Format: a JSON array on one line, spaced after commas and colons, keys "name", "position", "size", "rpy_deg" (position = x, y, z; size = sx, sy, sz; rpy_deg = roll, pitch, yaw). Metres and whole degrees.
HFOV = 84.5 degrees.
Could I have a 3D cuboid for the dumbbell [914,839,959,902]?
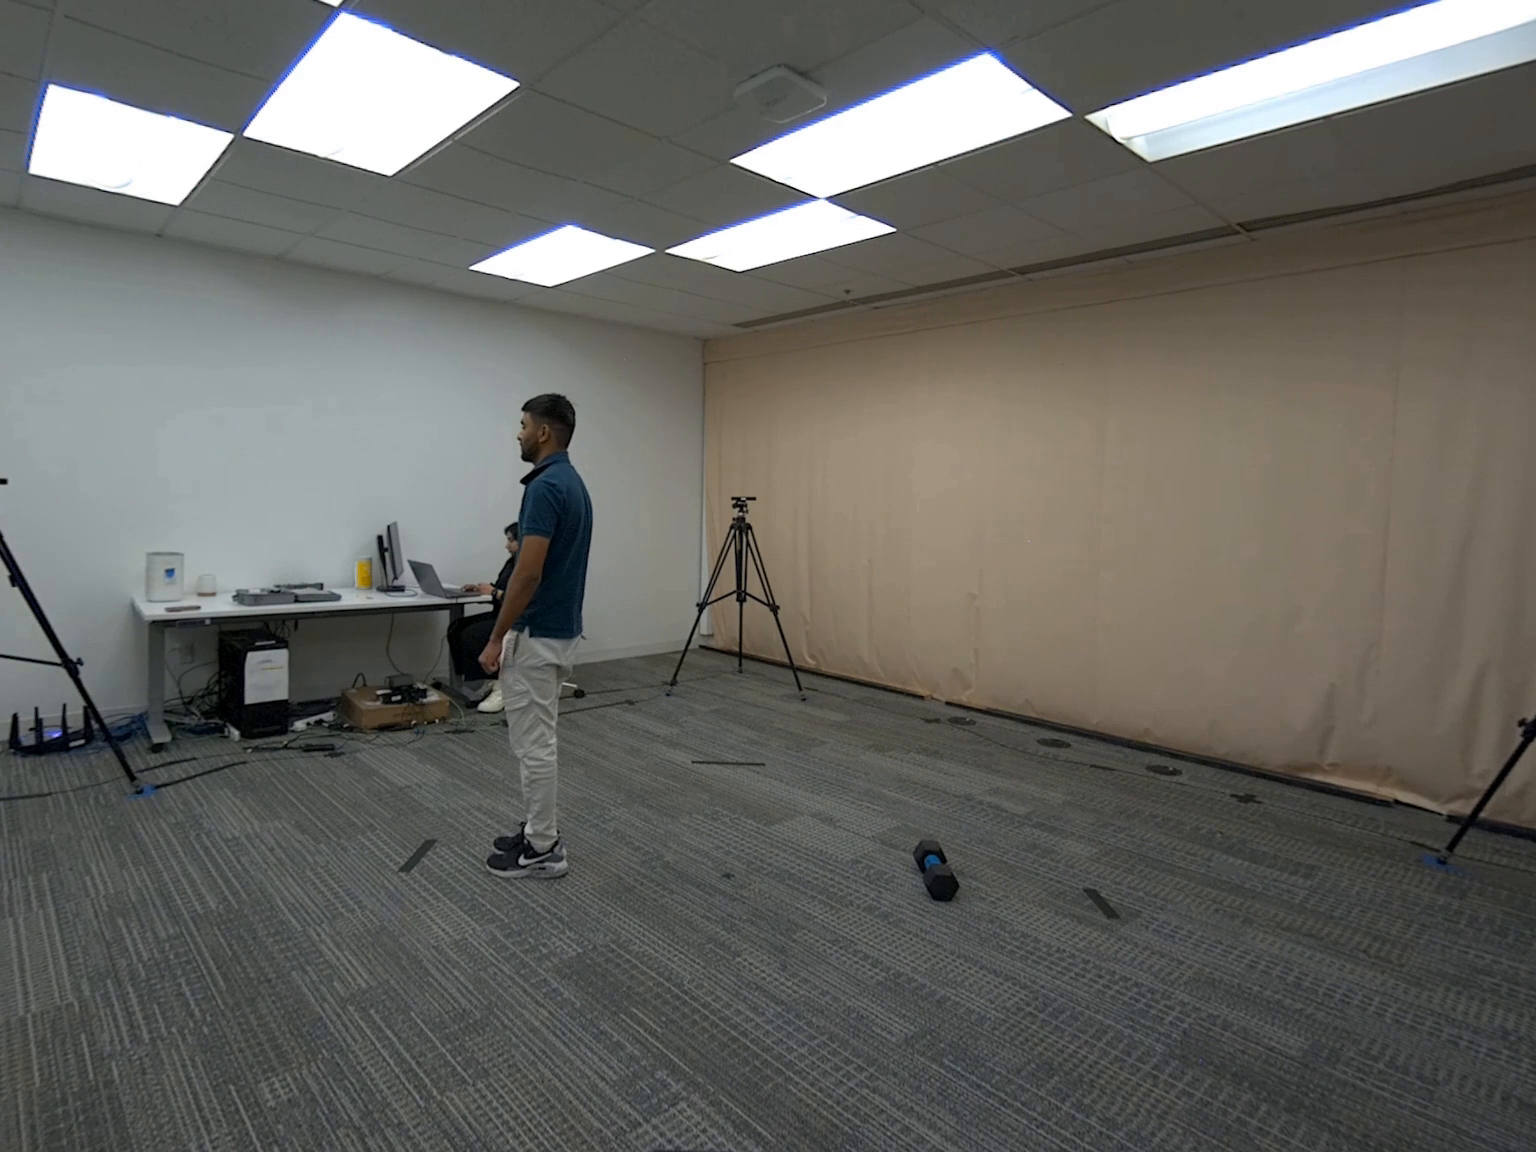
[{"name": "dumbbell", "position": [0.593, 1.078, 3.081], "size": [0.109, 0.122, 0.294], "rpy_deg": [-29, 4, 2]}]
